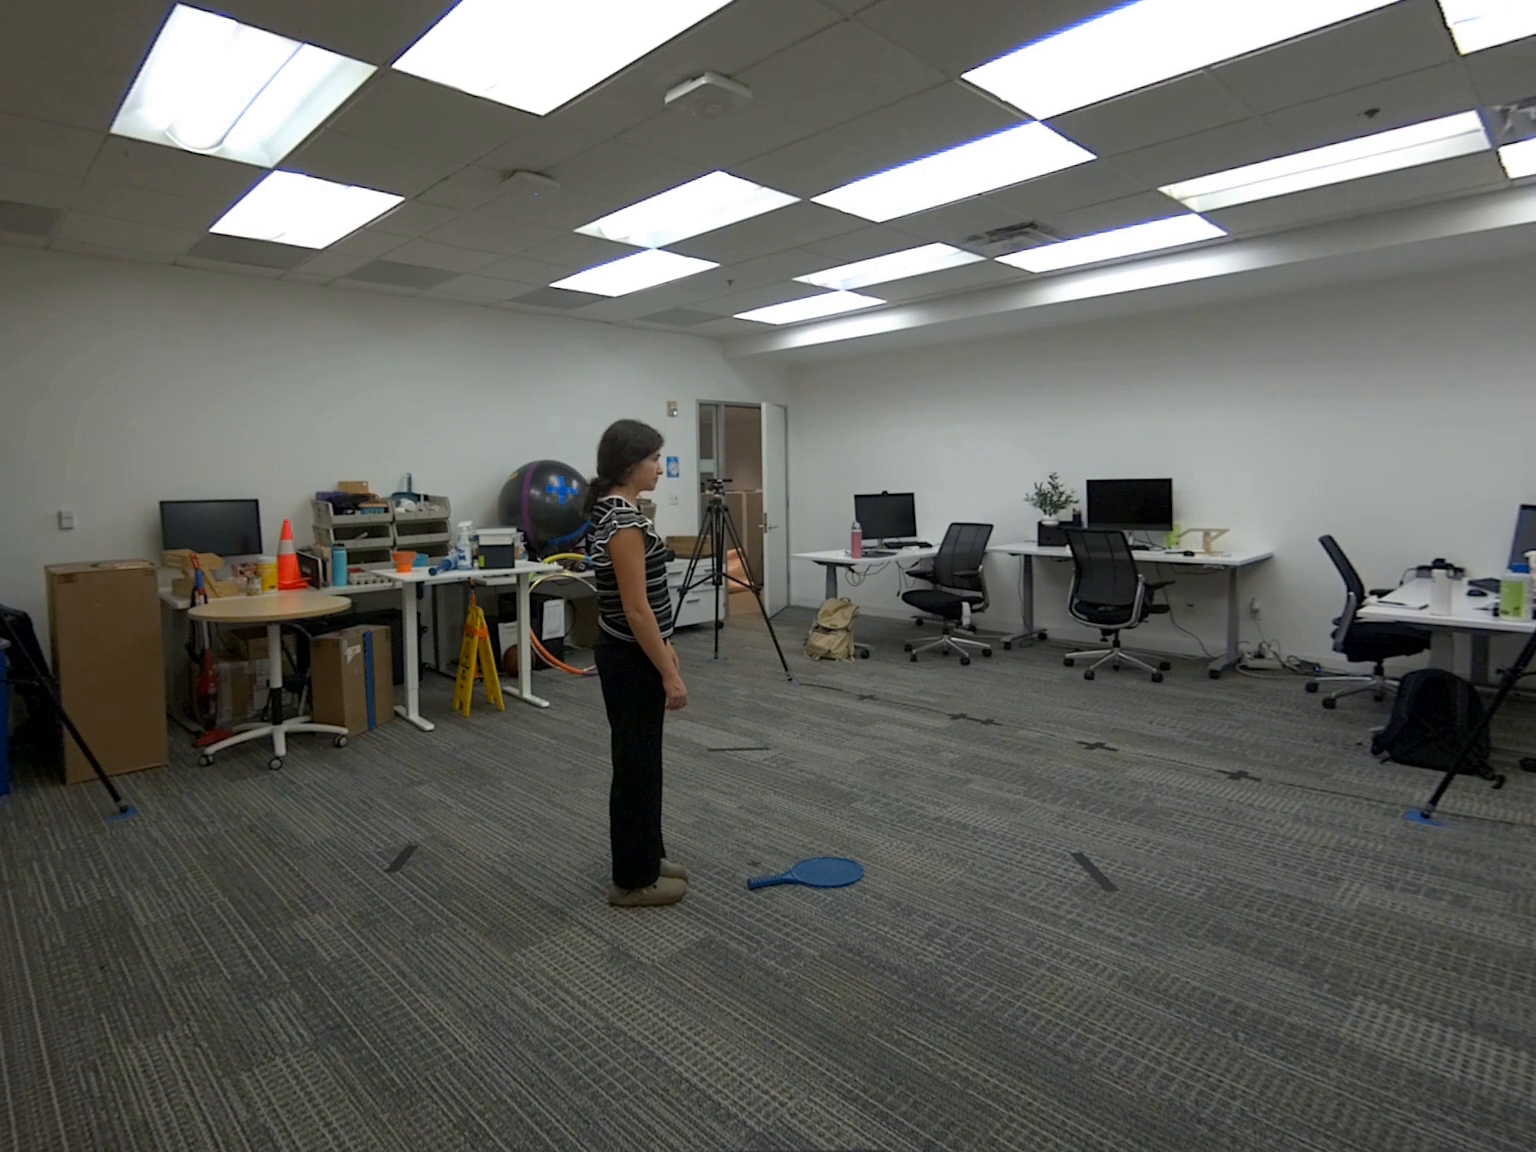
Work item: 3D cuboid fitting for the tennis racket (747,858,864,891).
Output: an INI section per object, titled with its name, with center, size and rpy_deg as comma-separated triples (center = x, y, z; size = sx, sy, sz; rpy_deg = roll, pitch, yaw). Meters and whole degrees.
[tennis racket]
center = 0.134, 1.039, 2.988
size = 0.425, 0.031, 0.218
rpy_deg = -2, 6, -19
